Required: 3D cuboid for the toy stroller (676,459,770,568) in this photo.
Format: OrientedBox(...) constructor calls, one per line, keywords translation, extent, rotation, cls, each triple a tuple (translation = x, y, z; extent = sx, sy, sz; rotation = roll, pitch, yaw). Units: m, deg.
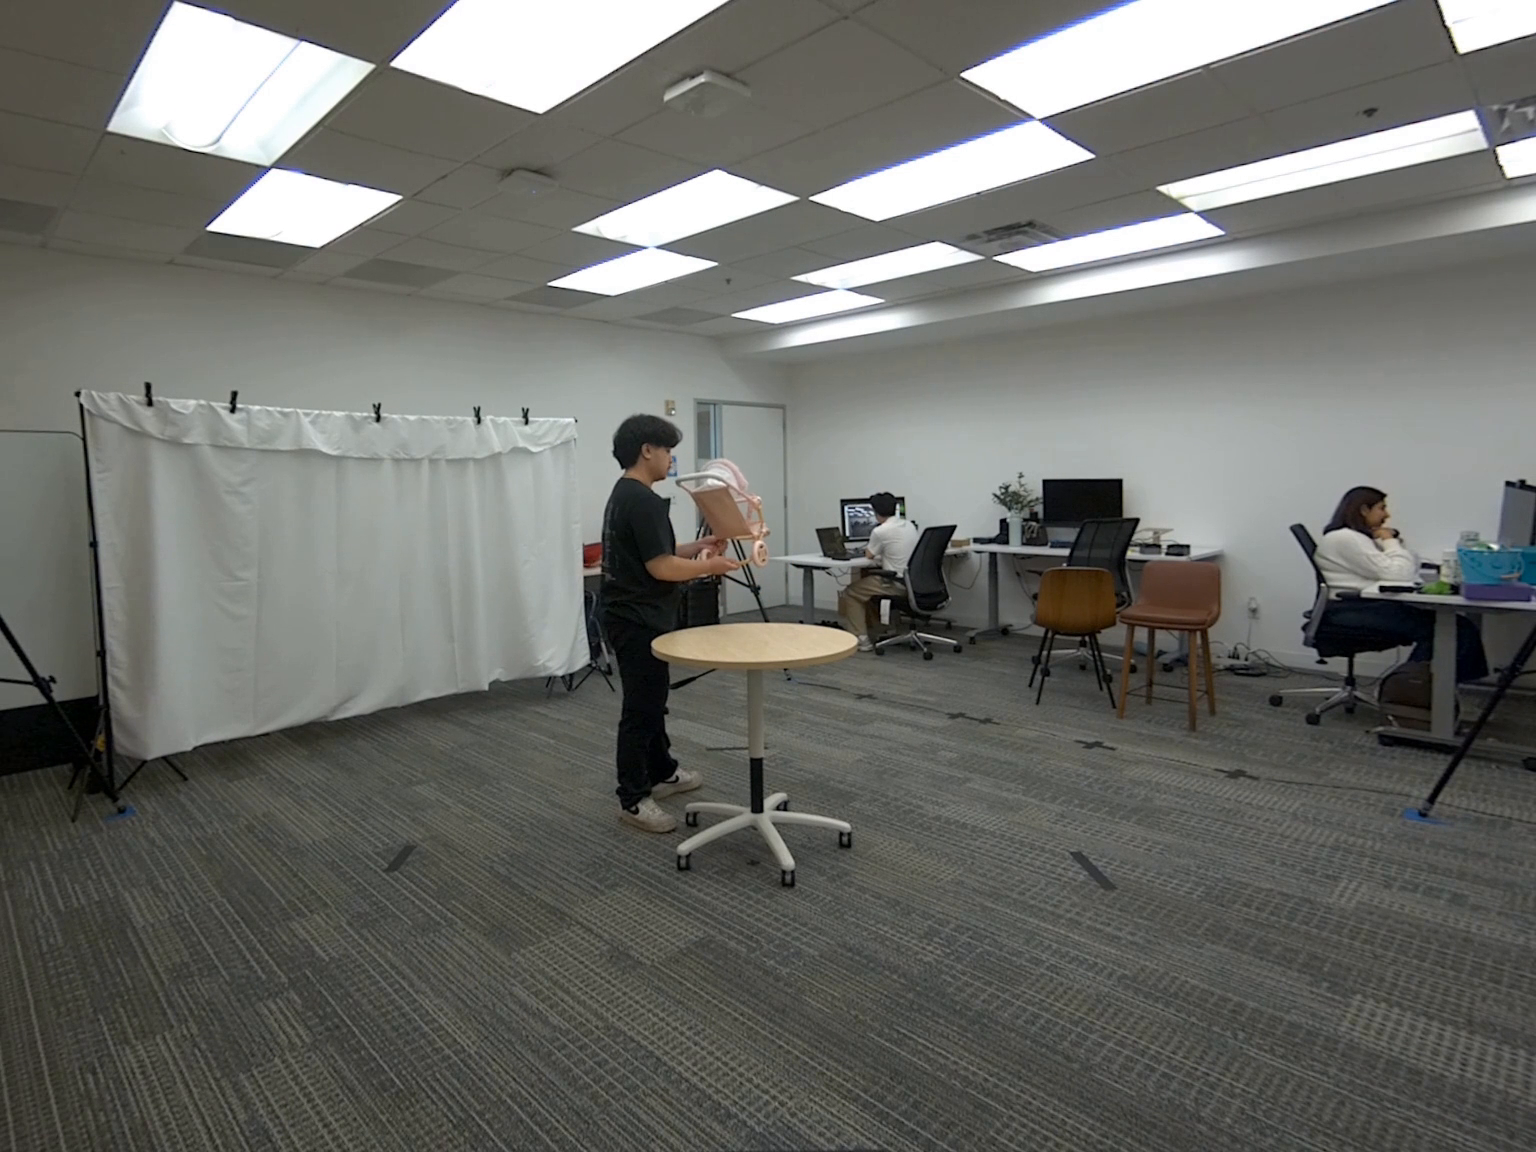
OrientedBox(translation=(-0.154, -0.257, 3.581), extent=(0.288, 0.522, 0.342), rotation=(-6, 26, 32), cls="toy stroller")
